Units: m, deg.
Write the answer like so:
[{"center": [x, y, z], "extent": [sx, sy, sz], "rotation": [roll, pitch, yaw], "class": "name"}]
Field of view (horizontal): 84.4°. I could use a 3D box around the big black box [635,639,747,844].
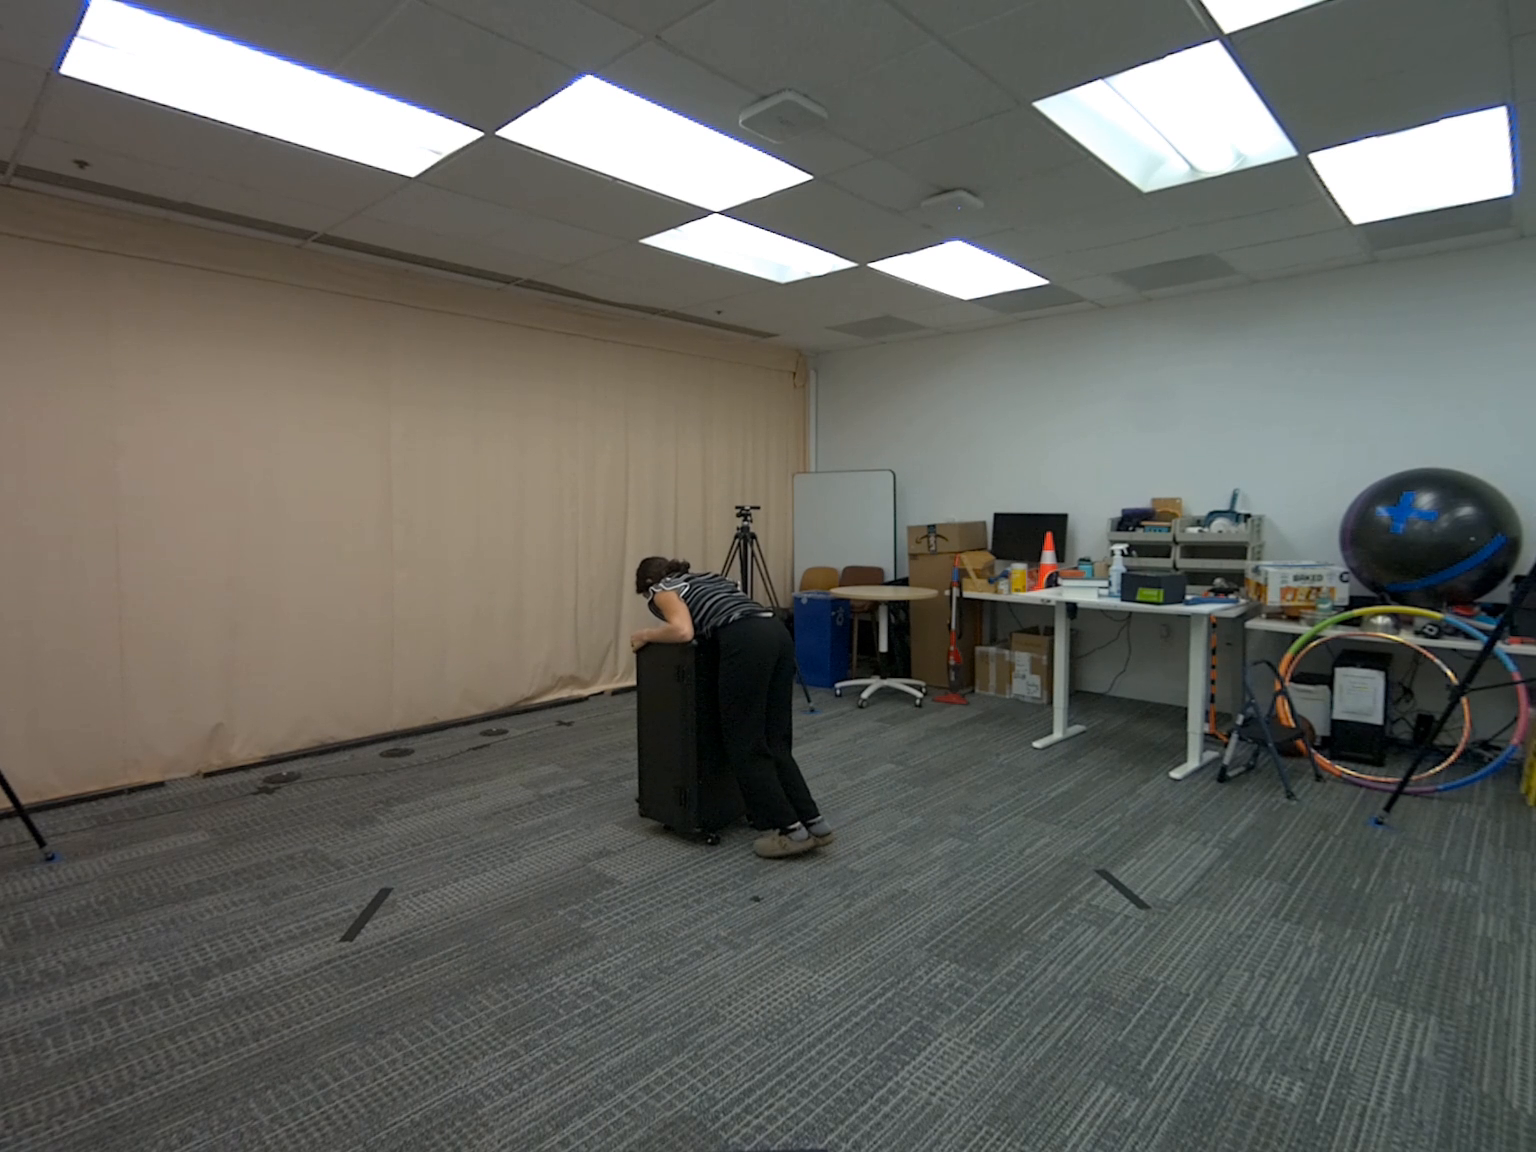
[{"center": [-0.282, 0.678, 3.659], "extent": [0.409, 0.861, 0.505], "rotation": [-1, 2, 41], "class": "big black box"}]
